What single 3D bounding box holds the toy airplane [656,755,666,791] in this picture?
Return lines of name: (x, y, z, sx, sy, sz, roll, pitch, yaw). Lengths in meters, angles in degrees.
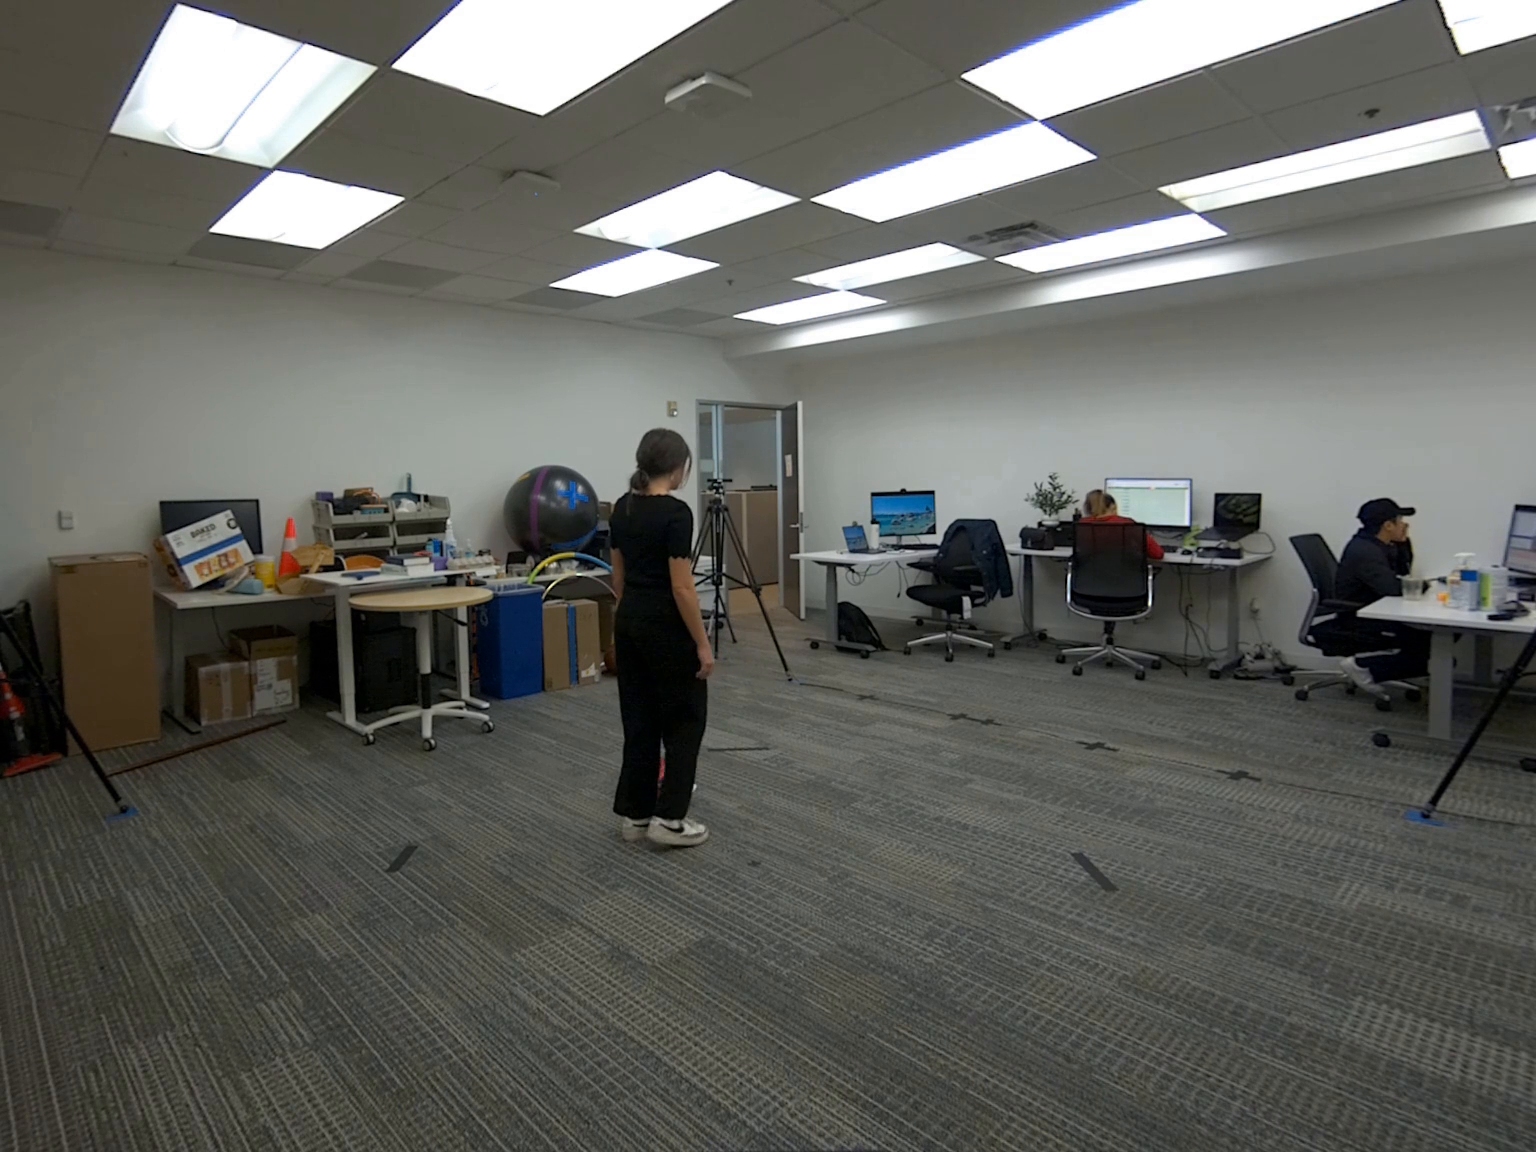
toy airplane: (-0.443, 0.907, 3.754, 0.255, 0.156, 0.256, -4, 6, -16)
